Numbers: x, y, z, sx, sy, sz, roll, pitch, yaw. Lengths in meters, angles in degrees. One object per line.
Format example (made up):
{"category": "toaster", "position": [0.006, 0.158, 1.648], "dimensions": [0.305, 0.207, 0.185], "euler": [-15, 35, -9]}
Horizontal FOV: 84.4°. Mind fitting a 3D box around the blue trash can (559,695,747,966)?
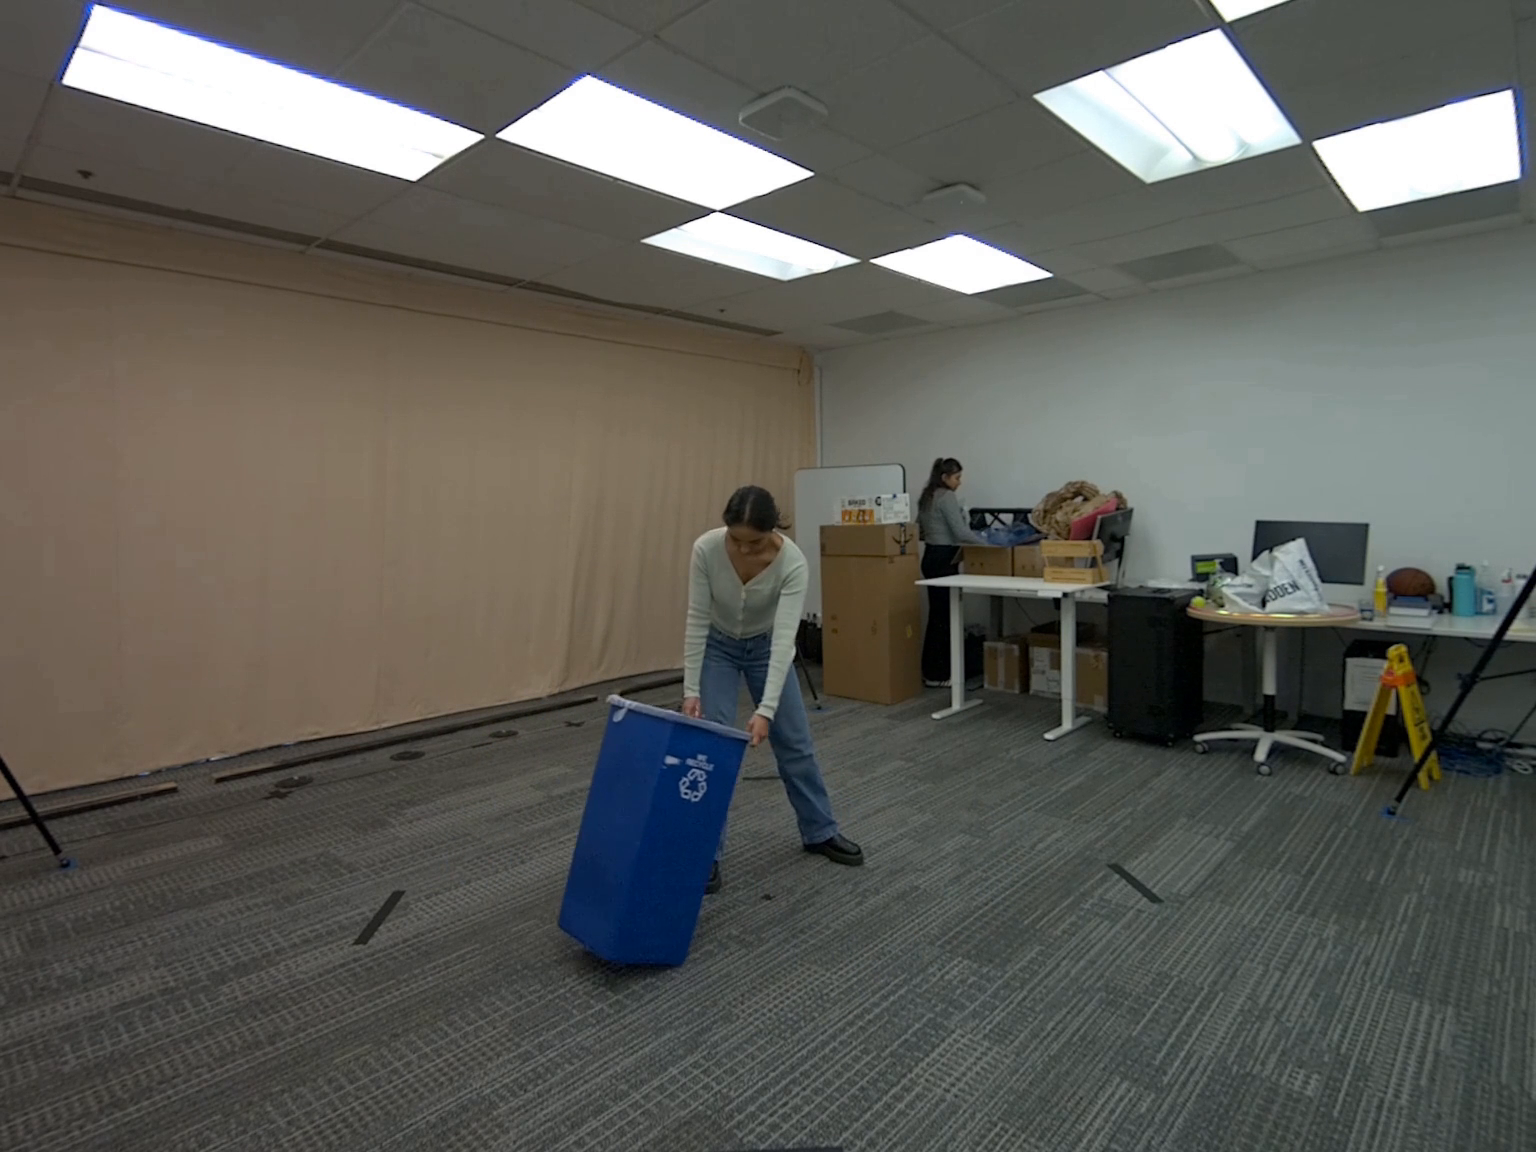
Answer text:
{"category": "blue trash can", "position": [-0.353, 0.788, 2.659], "dimensions": [0.360, 0.716, 0.390], "euler": [23, -14, -41]}
